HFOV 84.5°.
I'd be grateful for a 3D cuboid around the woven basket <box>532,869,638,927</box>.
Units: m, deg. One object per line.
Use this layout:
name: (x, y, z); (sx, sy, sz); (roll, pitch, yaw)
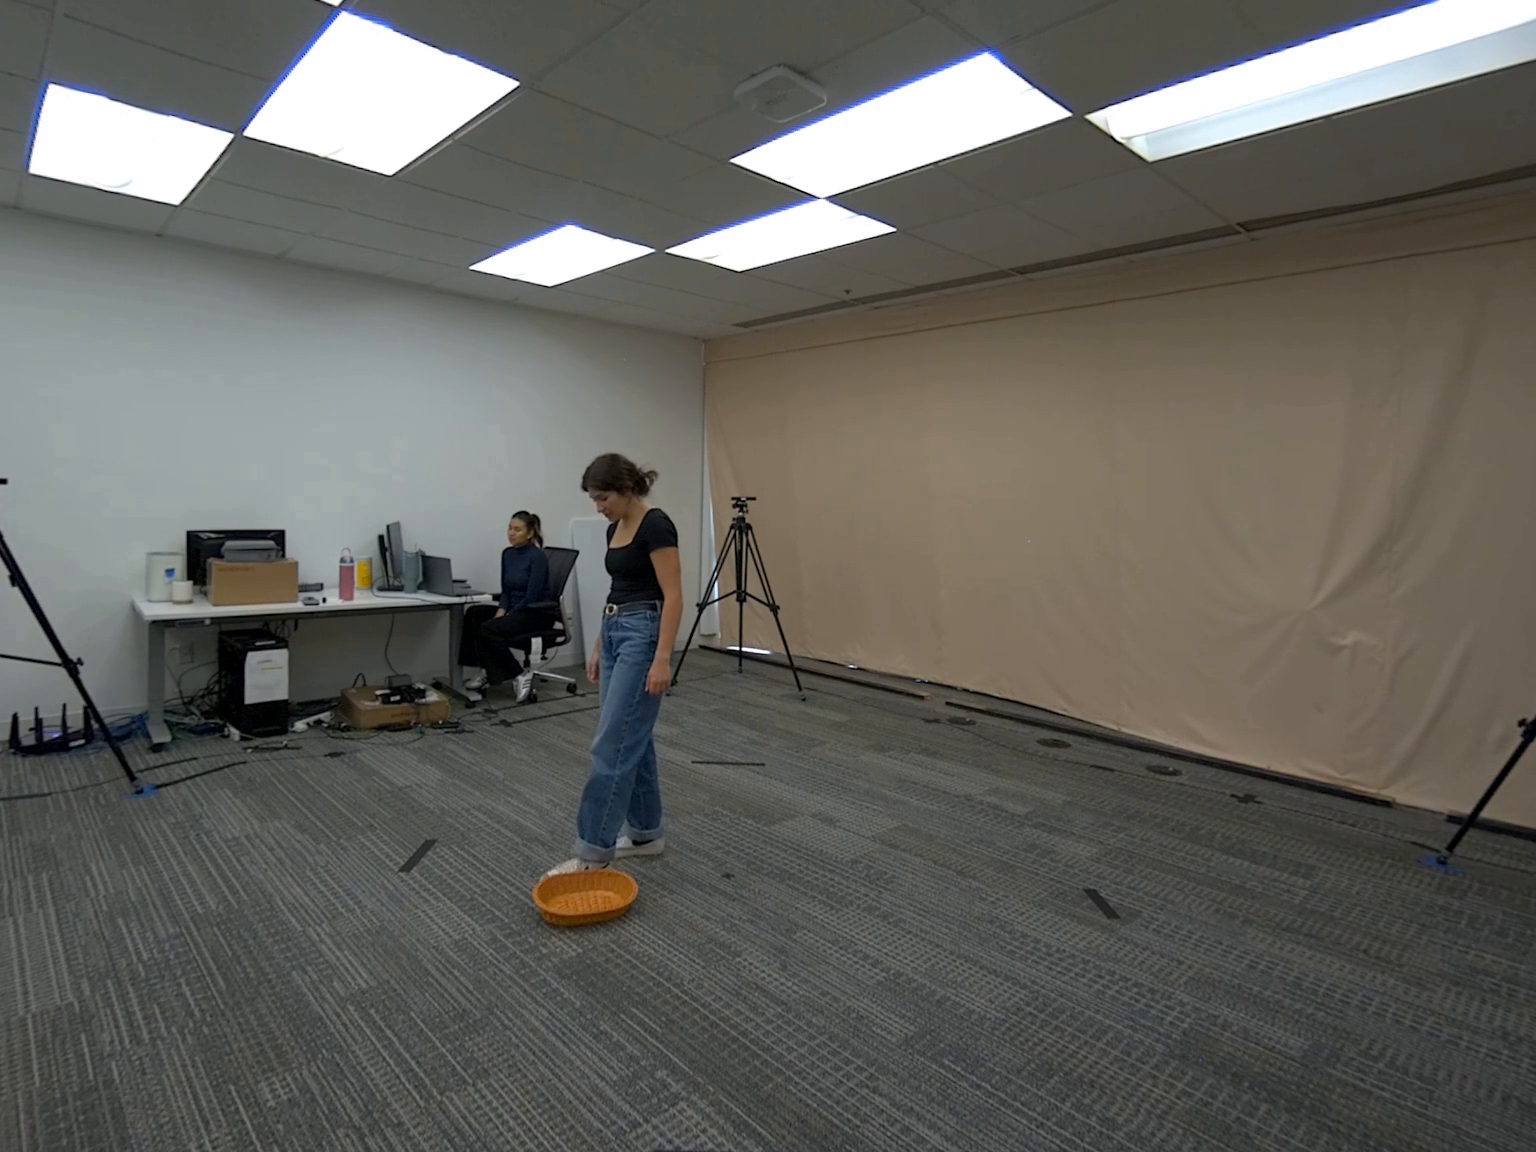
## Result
woven basket: (-0.608, 1.083, 2.802); (0.345, 0.073, 0.258); (0, 11, -21)
